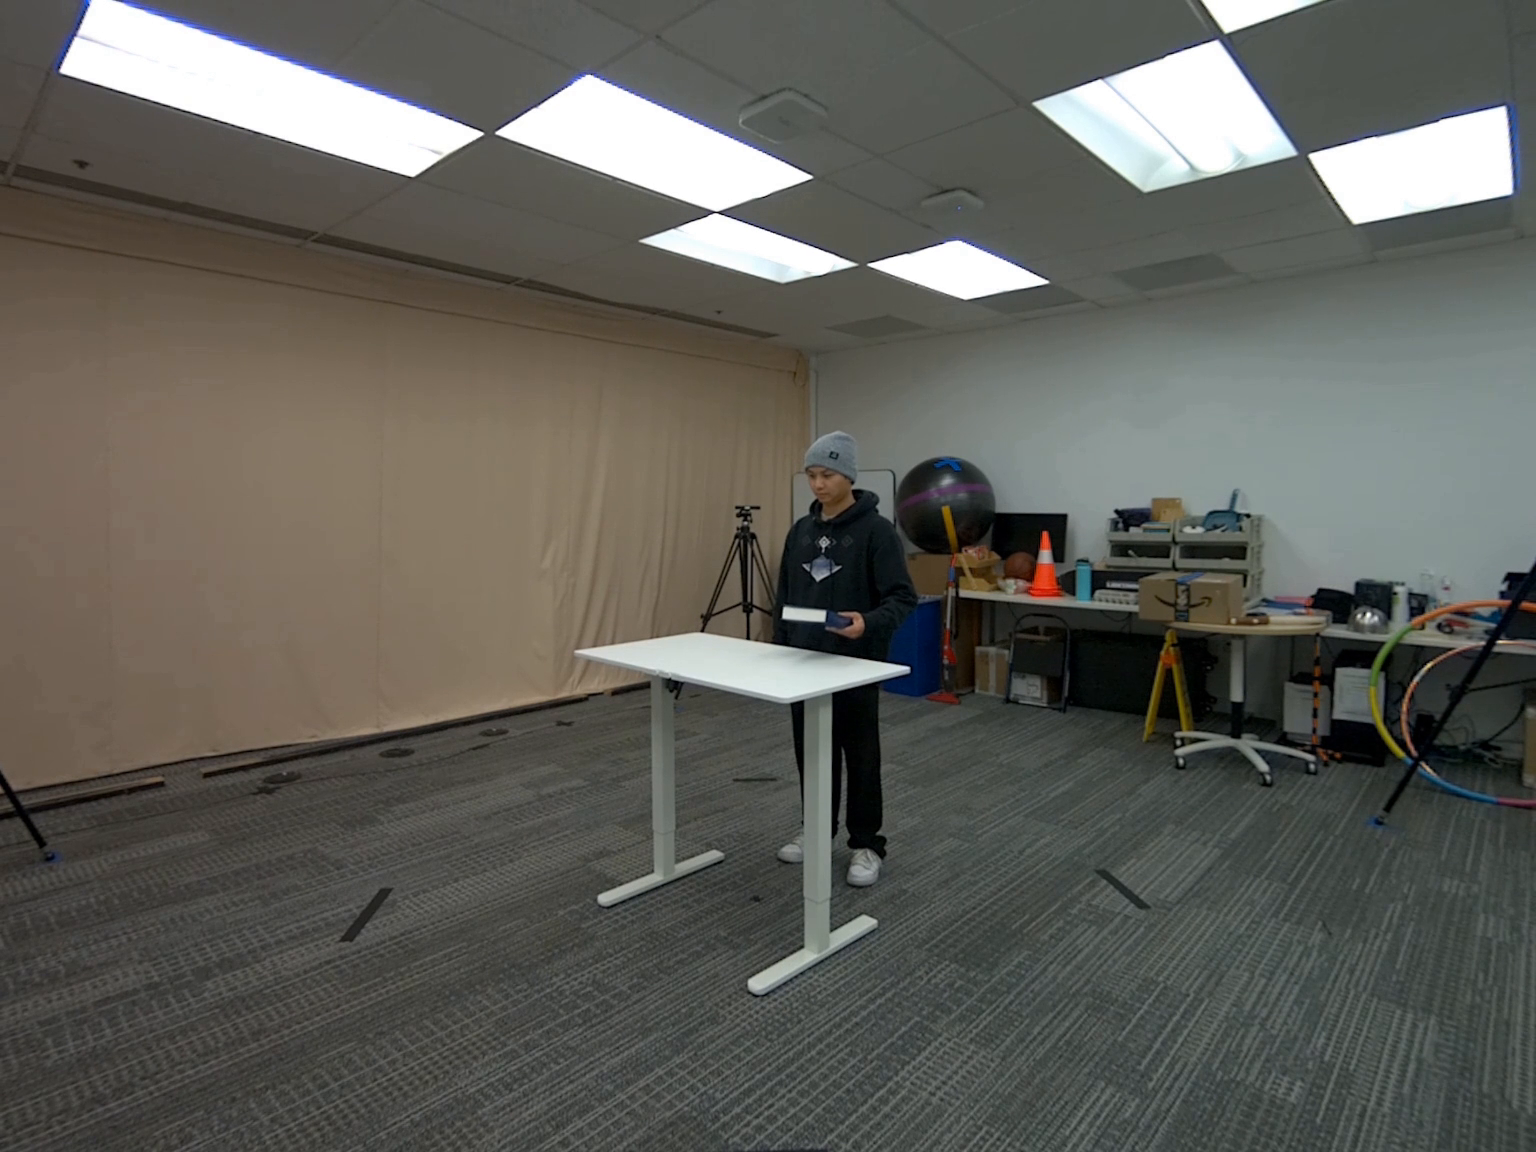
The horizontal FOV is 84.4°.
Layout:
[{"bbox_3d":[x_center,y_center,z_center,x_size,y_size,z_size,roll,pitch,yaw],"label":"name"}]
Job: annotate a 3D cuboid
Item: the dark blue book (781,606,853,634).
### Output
[{"bbox_3d":[0.163,0.145,2.834,0.168,0.045,0.238,6,-6,25],"label":"dark blue book"}]
